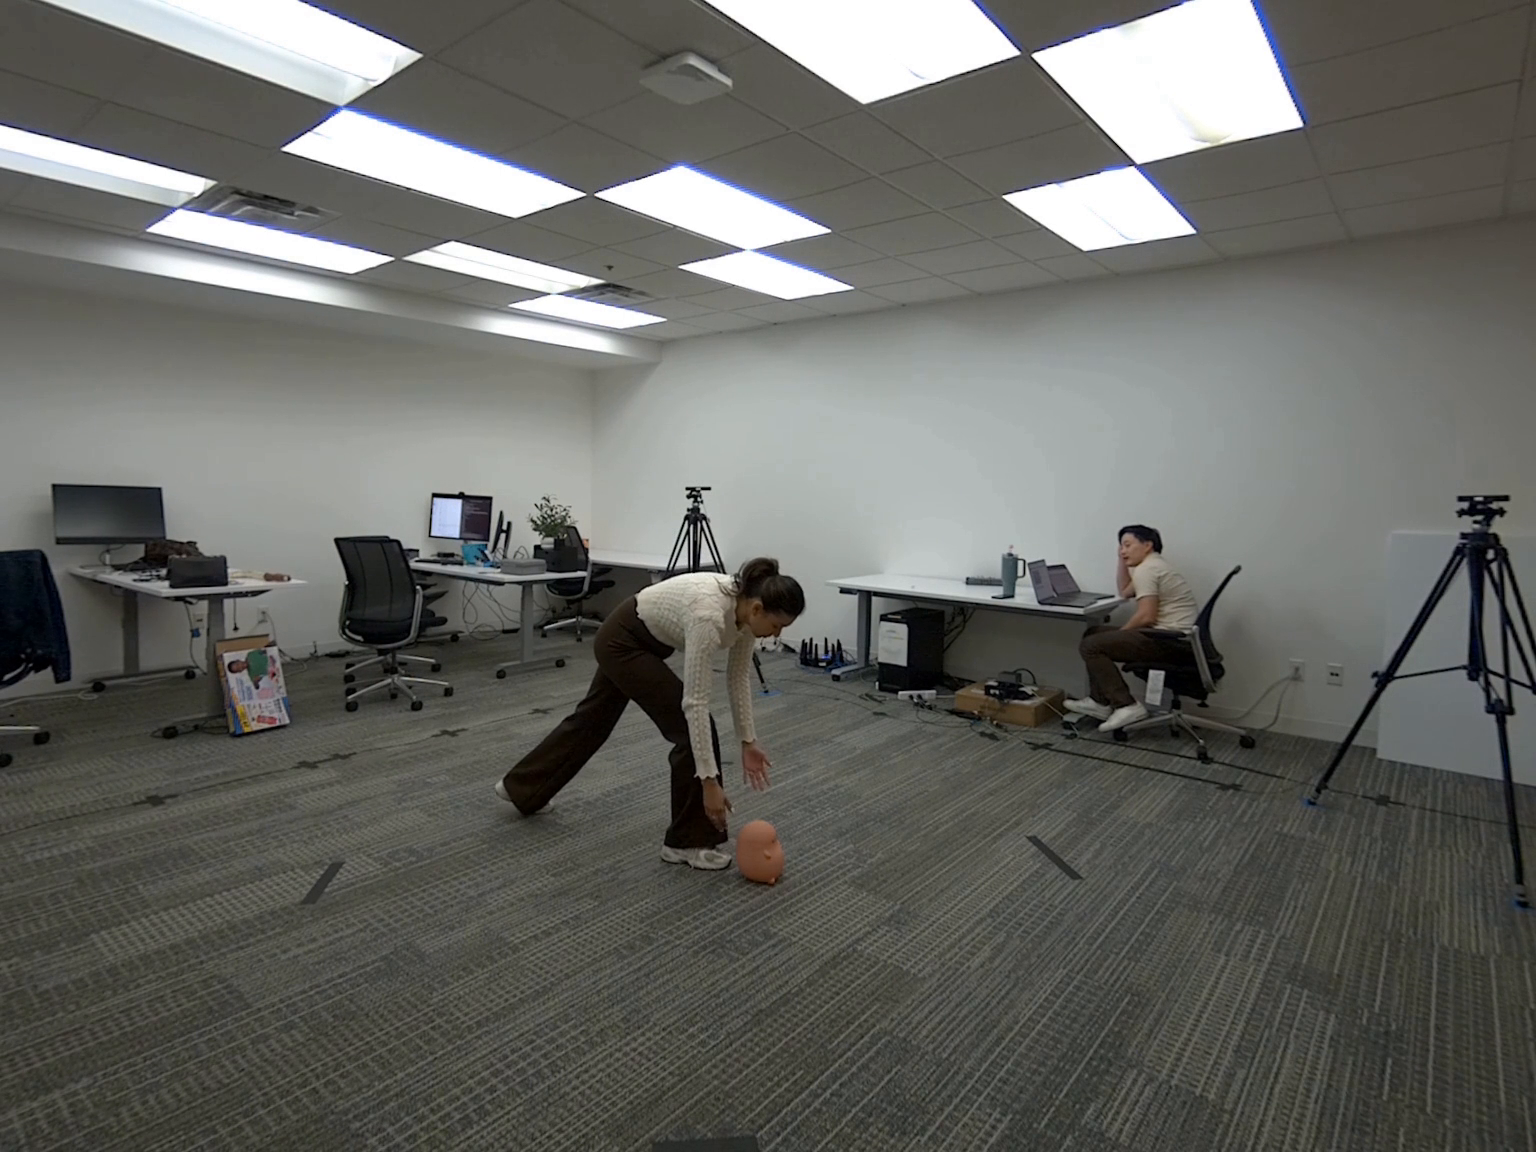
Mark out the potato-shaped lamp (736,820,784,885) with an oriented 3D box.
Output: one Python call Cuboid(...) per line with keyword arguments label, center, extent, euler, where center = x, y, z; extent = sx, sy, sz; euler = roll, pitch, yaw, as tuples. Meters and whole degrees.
Cuboid(label="potato-shaped lamp", center=(-0.035, 0.976, 3.051), extent=(0.175, 0.197, 0.162), euler=(0, 5, 21))
